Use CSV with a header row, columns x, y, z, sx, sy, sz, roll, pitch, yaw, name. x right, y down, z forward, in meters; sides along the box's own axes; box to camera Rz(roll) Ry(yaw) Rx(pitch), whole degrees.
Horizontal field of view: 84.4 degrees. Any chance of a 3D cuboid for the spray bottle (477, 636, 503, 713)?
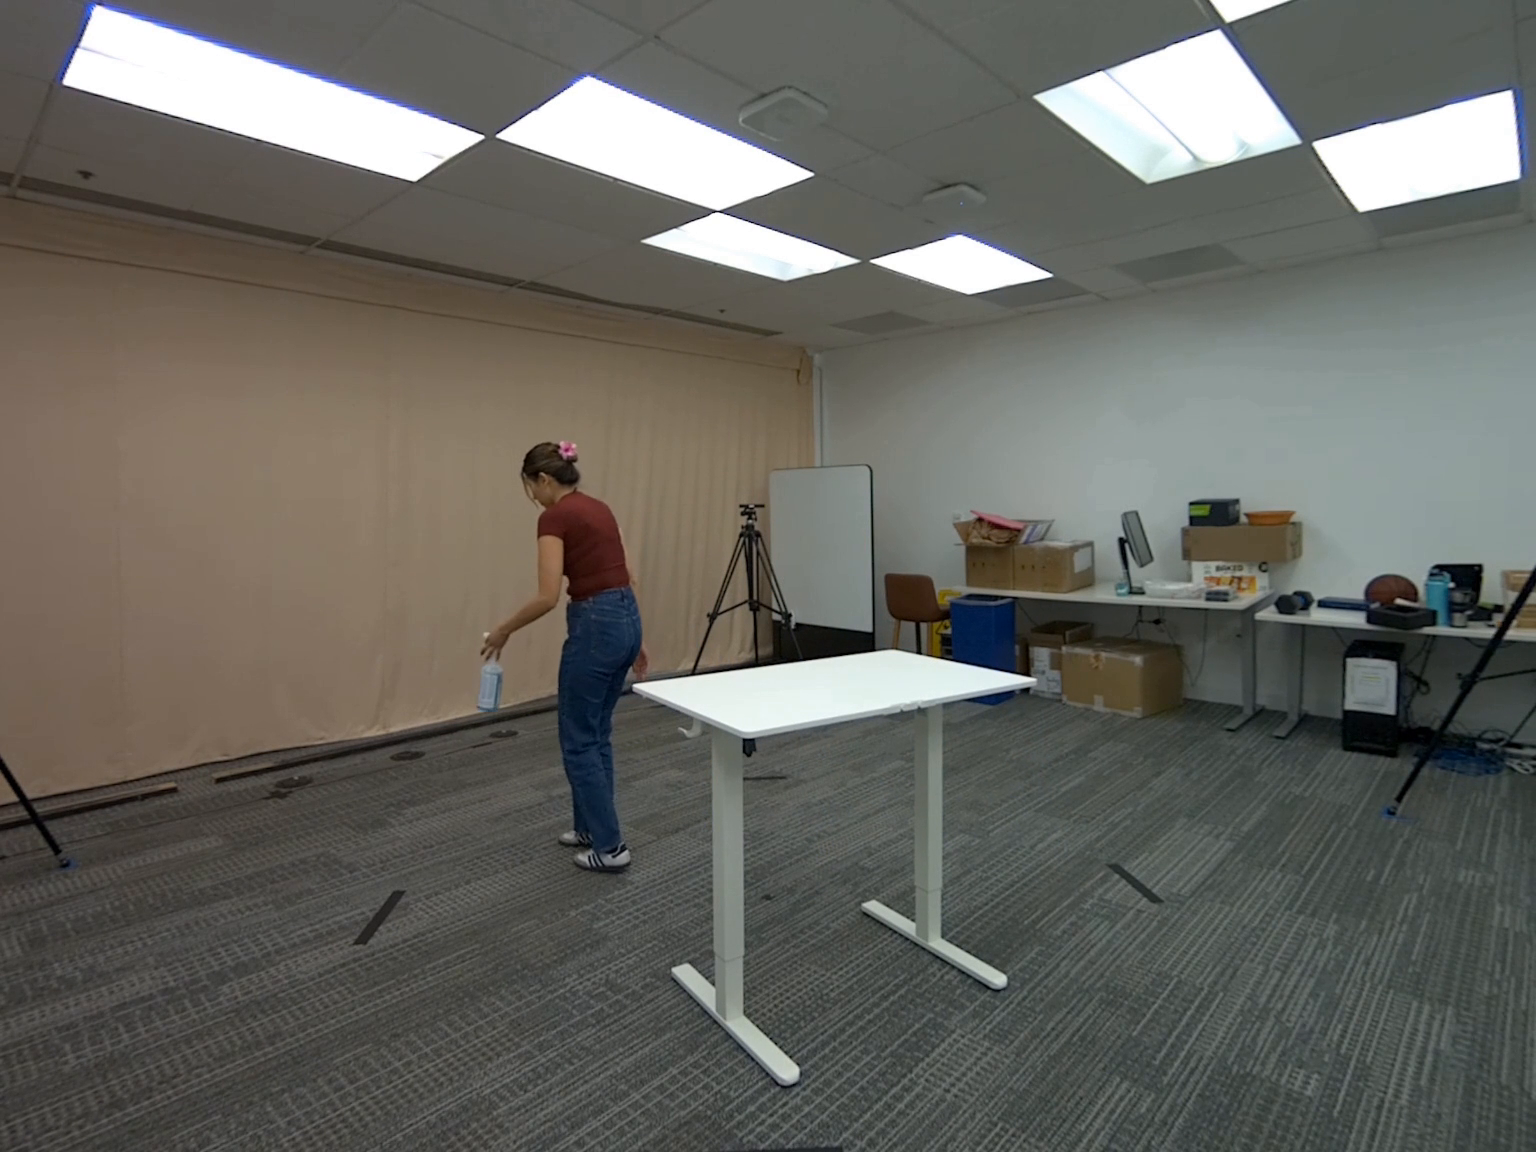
x,y,z,sx,sy,sz,roll,pitch,yaw,name
-1.090,0.384,3.312,0.093,0.297,0.084,10,4,30,spray bottle
